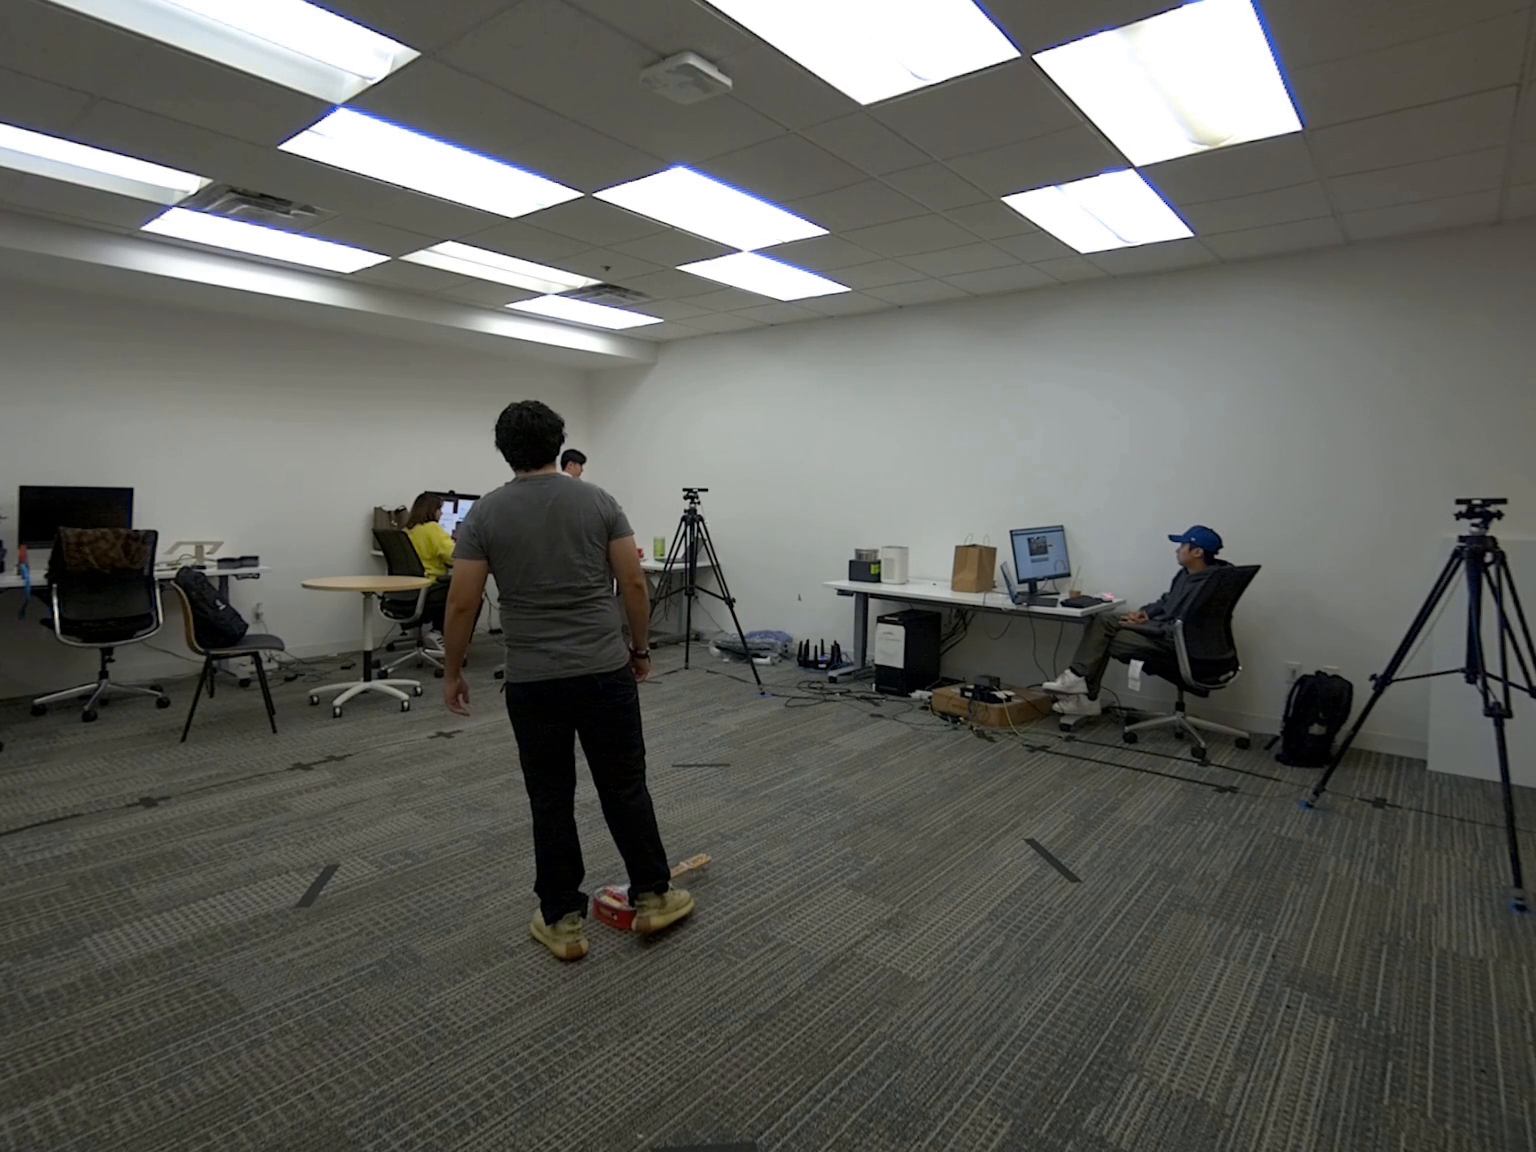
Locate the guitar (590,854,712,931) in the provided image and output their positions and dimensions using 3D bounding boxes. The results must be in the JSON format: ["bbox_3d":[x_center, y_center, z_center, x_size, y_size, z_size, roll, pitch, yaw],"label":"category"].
[{"bbox_3d":[-0.359,1.056,2.872,0.483,0.070,0.199,-4,7,-42],"label":"guitar"}]
